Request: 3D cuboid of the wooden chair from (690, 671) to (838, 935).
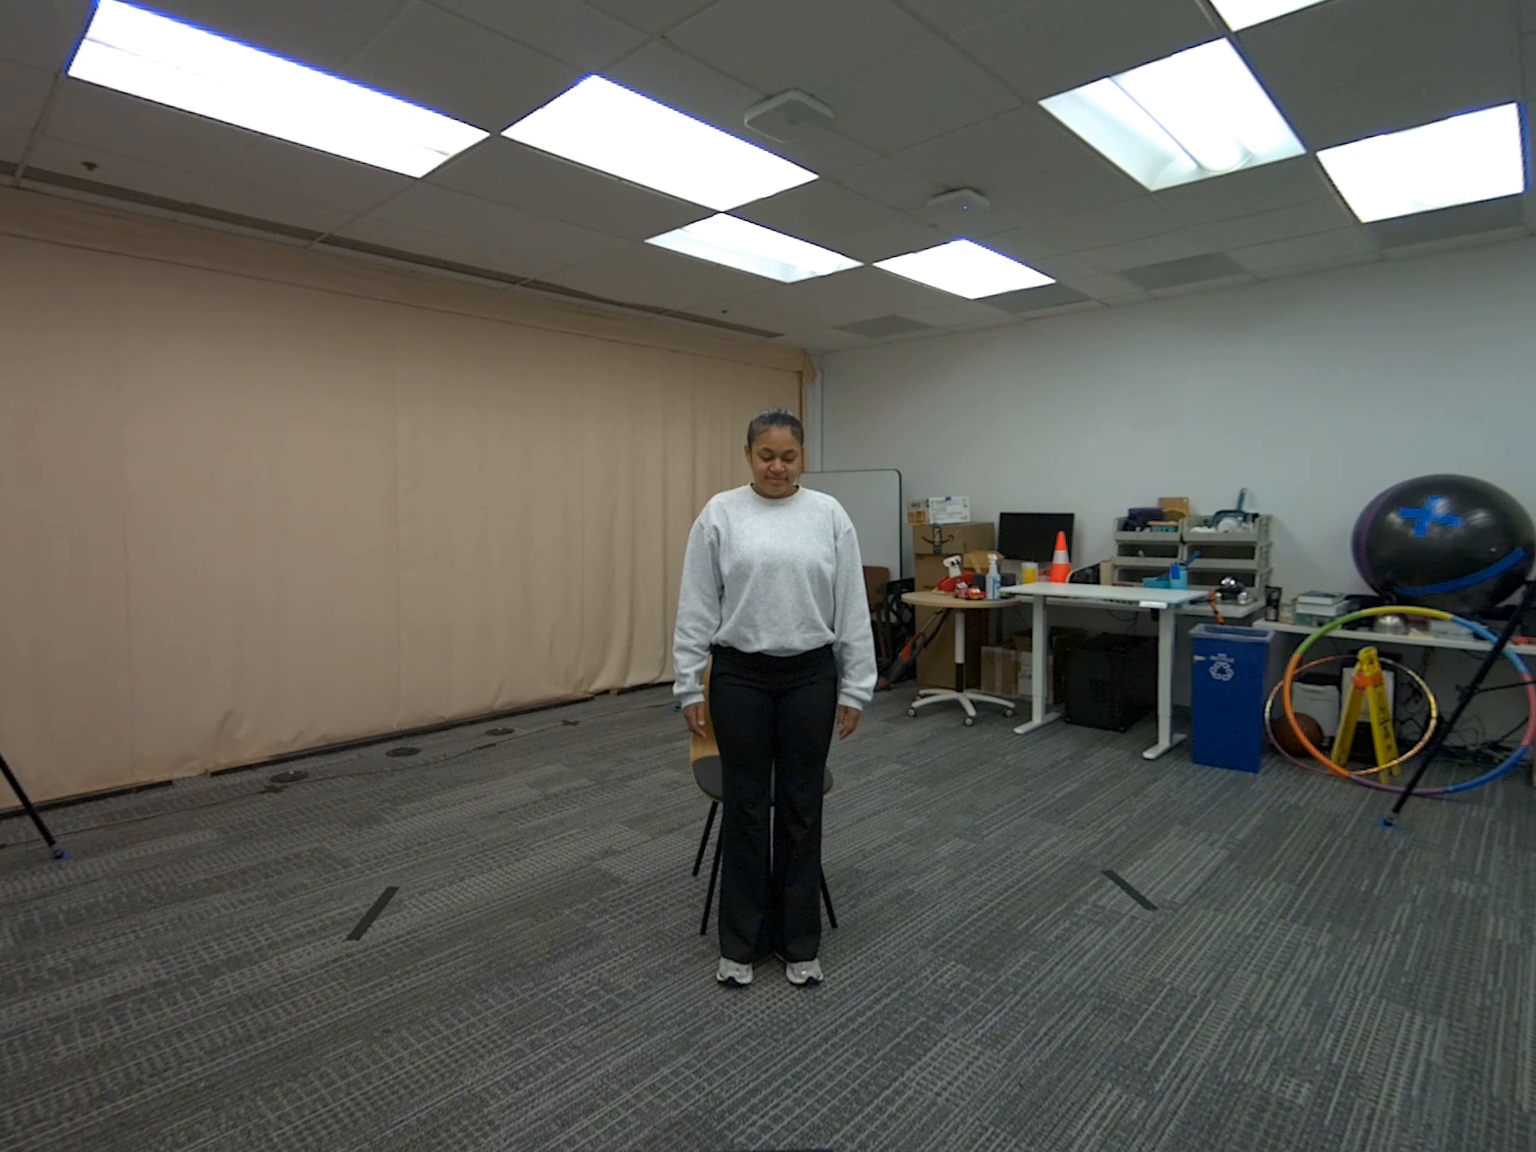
[{"bbox_3d":[-0.025,0.716,2.938,0.475,0.878,0.527,0,-1,-8],"label":"wooden chair"}]
